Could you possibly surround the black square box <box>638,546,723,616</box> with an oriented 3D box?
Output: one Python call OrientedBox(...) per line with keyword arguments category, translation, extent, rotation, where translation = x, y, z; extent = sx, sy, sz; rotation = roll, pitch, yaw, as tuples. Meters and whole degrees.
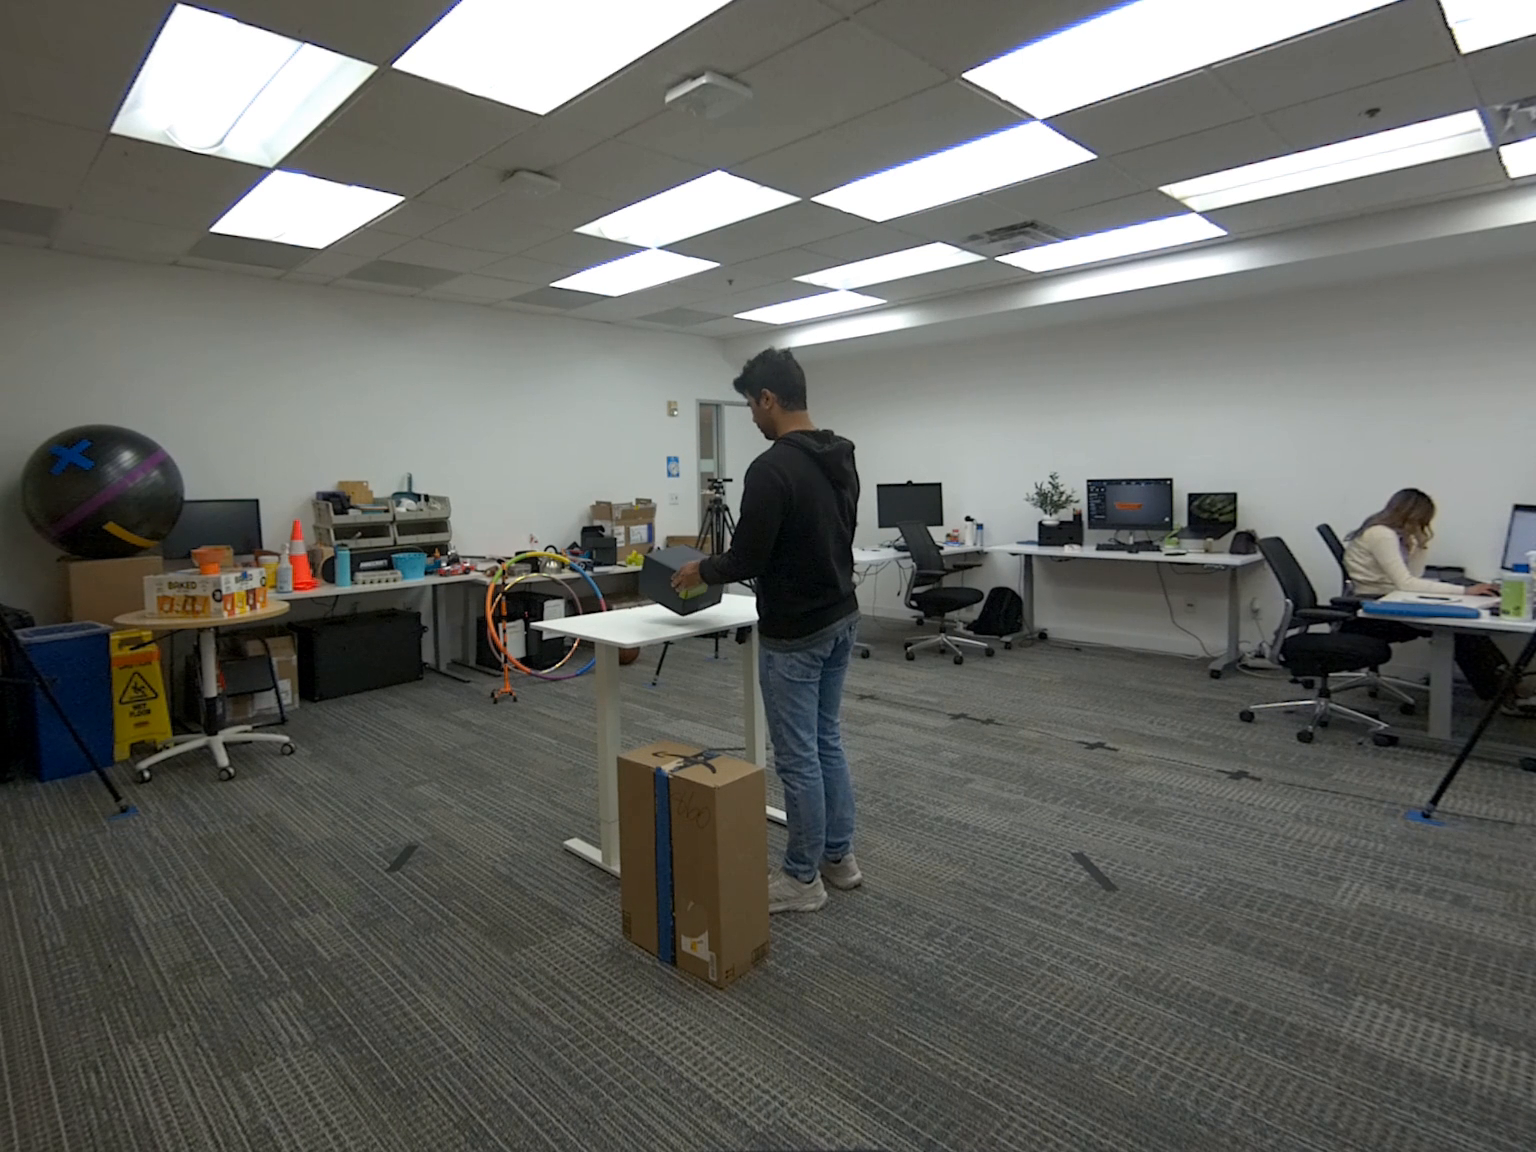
OrientedBox(category="black square box", translation=(-0.304, 0.012, 3.081), extent=(0.224, 0.154, 0.223), rotation=(24, 24, 30))
